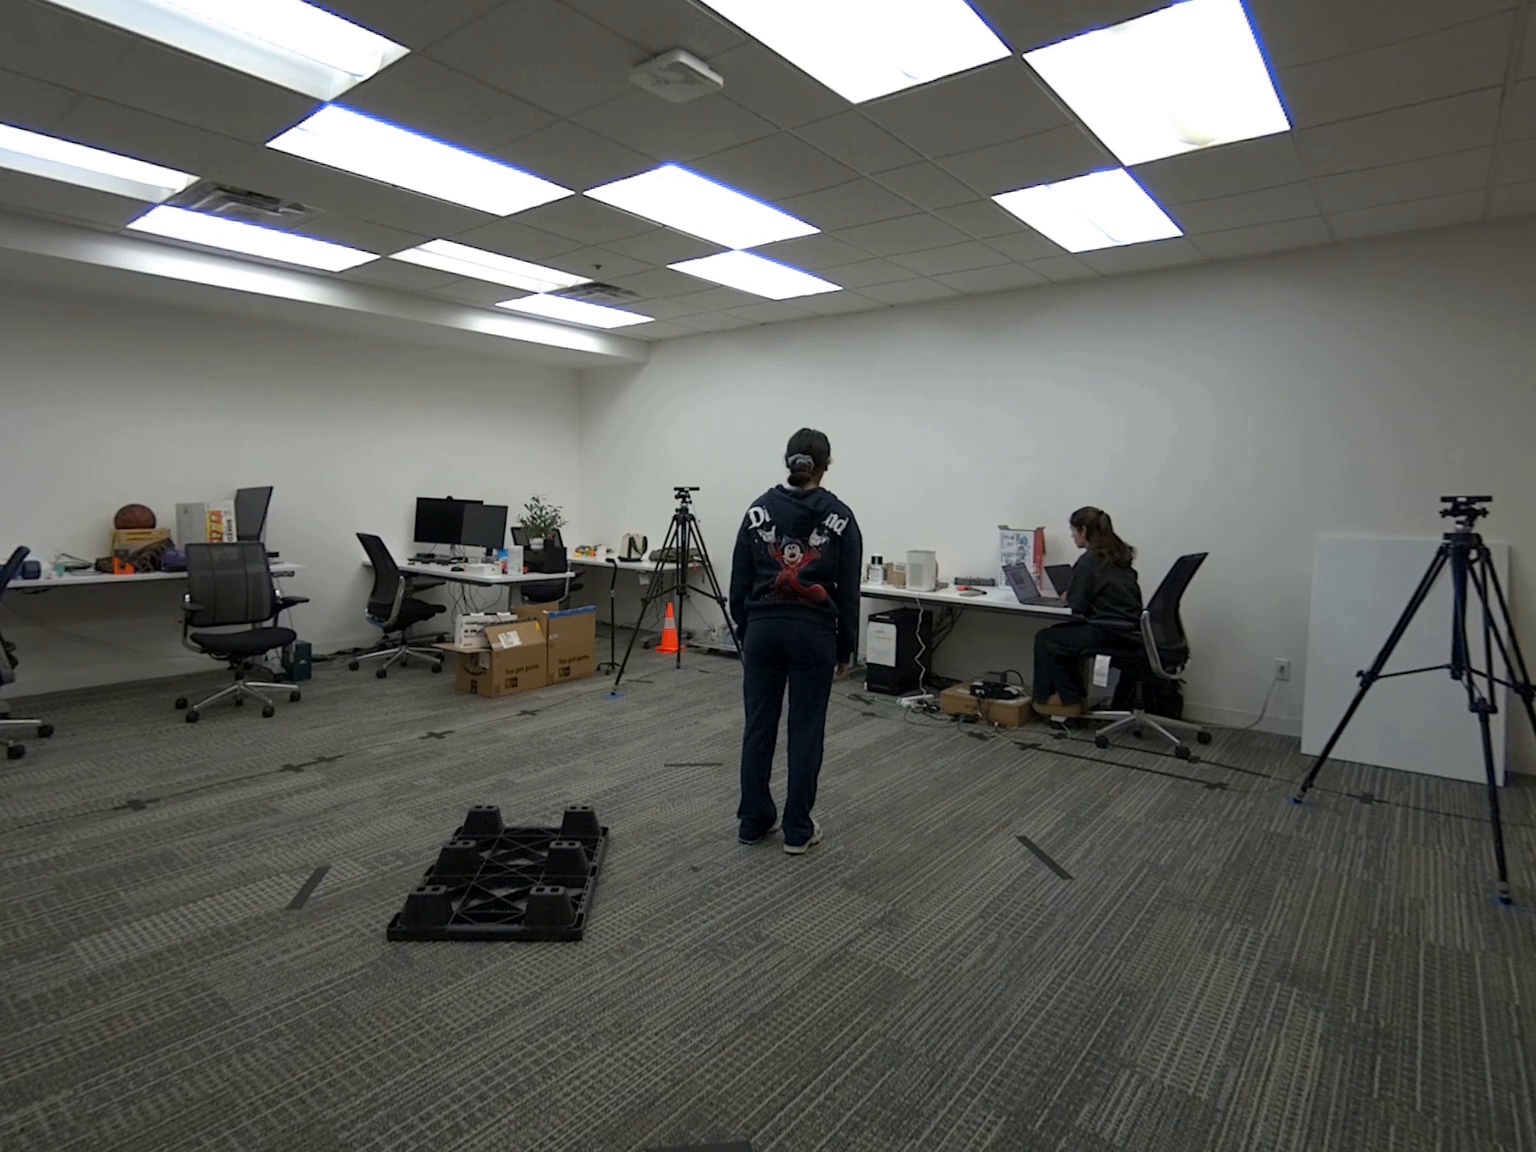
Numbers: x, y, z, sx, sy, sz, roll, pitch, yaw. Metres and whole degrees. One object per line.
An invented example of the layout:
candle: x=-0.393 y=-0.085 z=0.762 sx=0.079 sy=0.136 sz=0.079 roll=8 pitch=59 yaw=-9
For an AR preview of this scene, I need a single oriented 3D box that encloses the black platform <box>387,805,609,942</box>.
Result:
black platform: x=-0.915 y=1.005 z=2.981 sx=0.603 sy=0.143 sz=0.811 roll=1 pitch=6 yaw=-4
